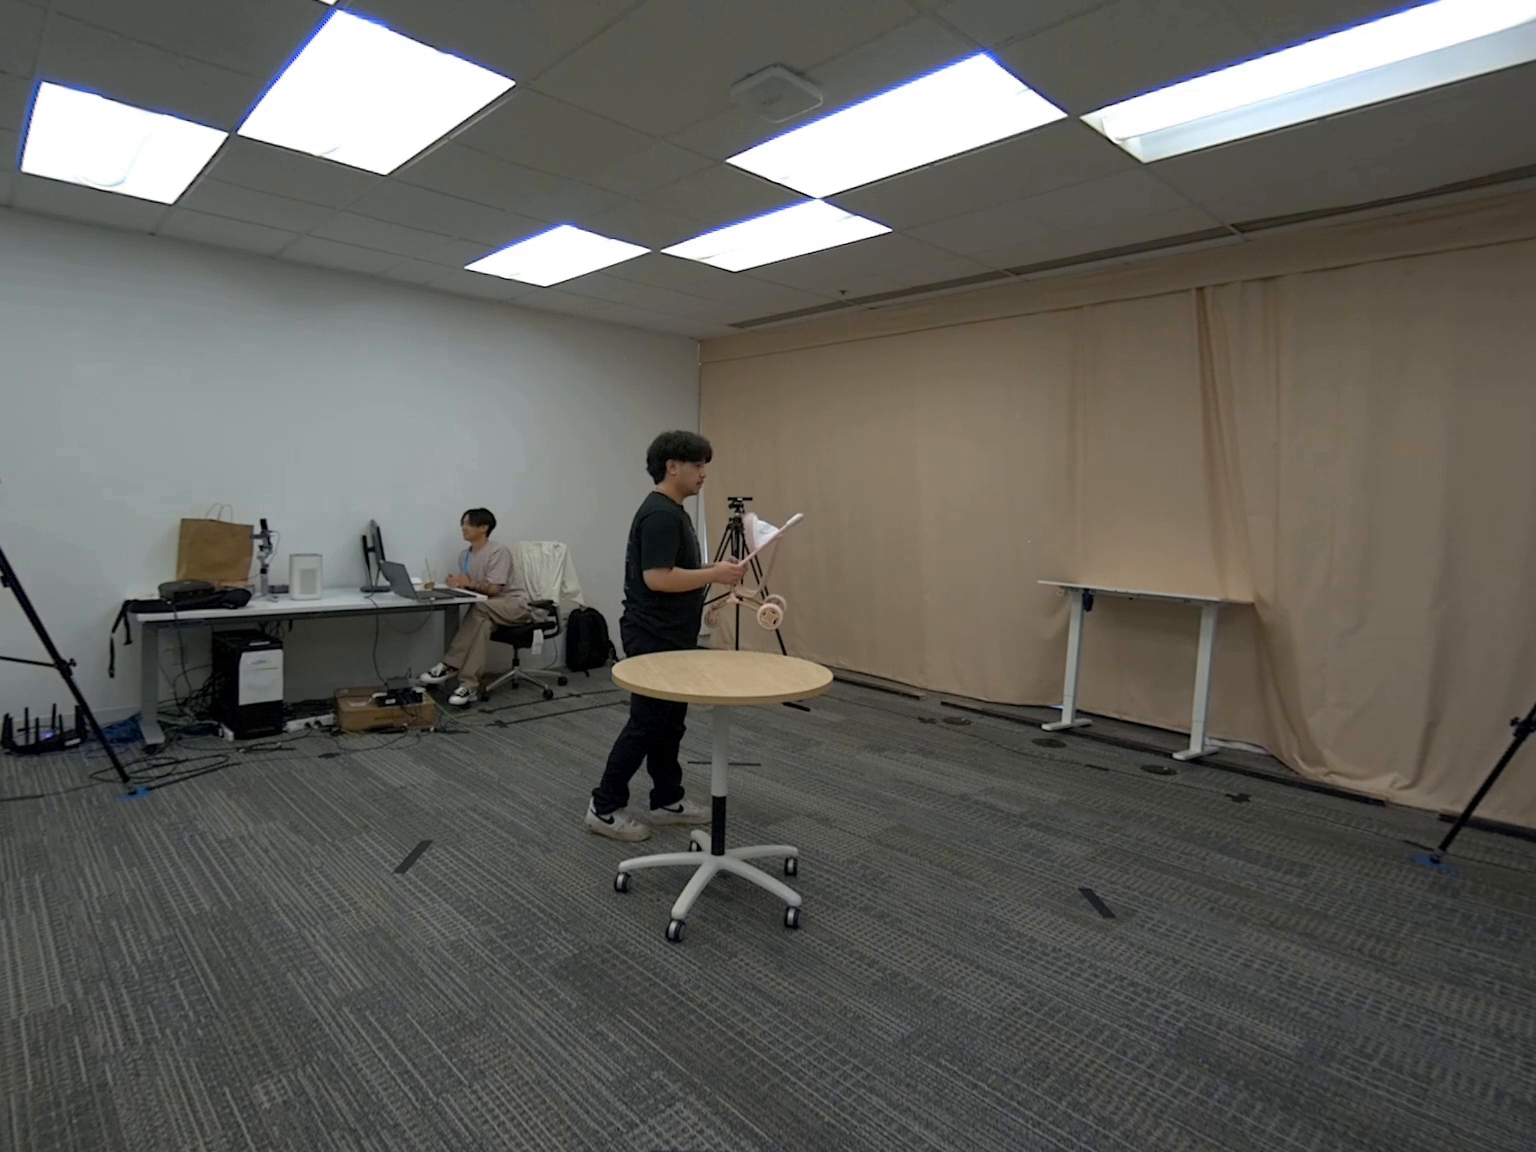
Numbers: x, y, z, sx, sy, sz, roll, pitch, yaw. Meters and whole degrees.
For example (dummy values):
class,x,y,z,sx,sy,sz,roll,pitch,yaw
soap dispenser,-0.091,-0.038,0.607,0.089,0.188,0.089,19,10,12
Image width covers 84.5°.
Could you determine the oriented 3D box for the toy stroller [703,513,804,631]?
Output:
class,x,y,z,sx,sy,sz,roll,pitch,yaw
toy stroller,-0.076,-0.023,3.506,0.344,0.532,0.280,11,7,8
